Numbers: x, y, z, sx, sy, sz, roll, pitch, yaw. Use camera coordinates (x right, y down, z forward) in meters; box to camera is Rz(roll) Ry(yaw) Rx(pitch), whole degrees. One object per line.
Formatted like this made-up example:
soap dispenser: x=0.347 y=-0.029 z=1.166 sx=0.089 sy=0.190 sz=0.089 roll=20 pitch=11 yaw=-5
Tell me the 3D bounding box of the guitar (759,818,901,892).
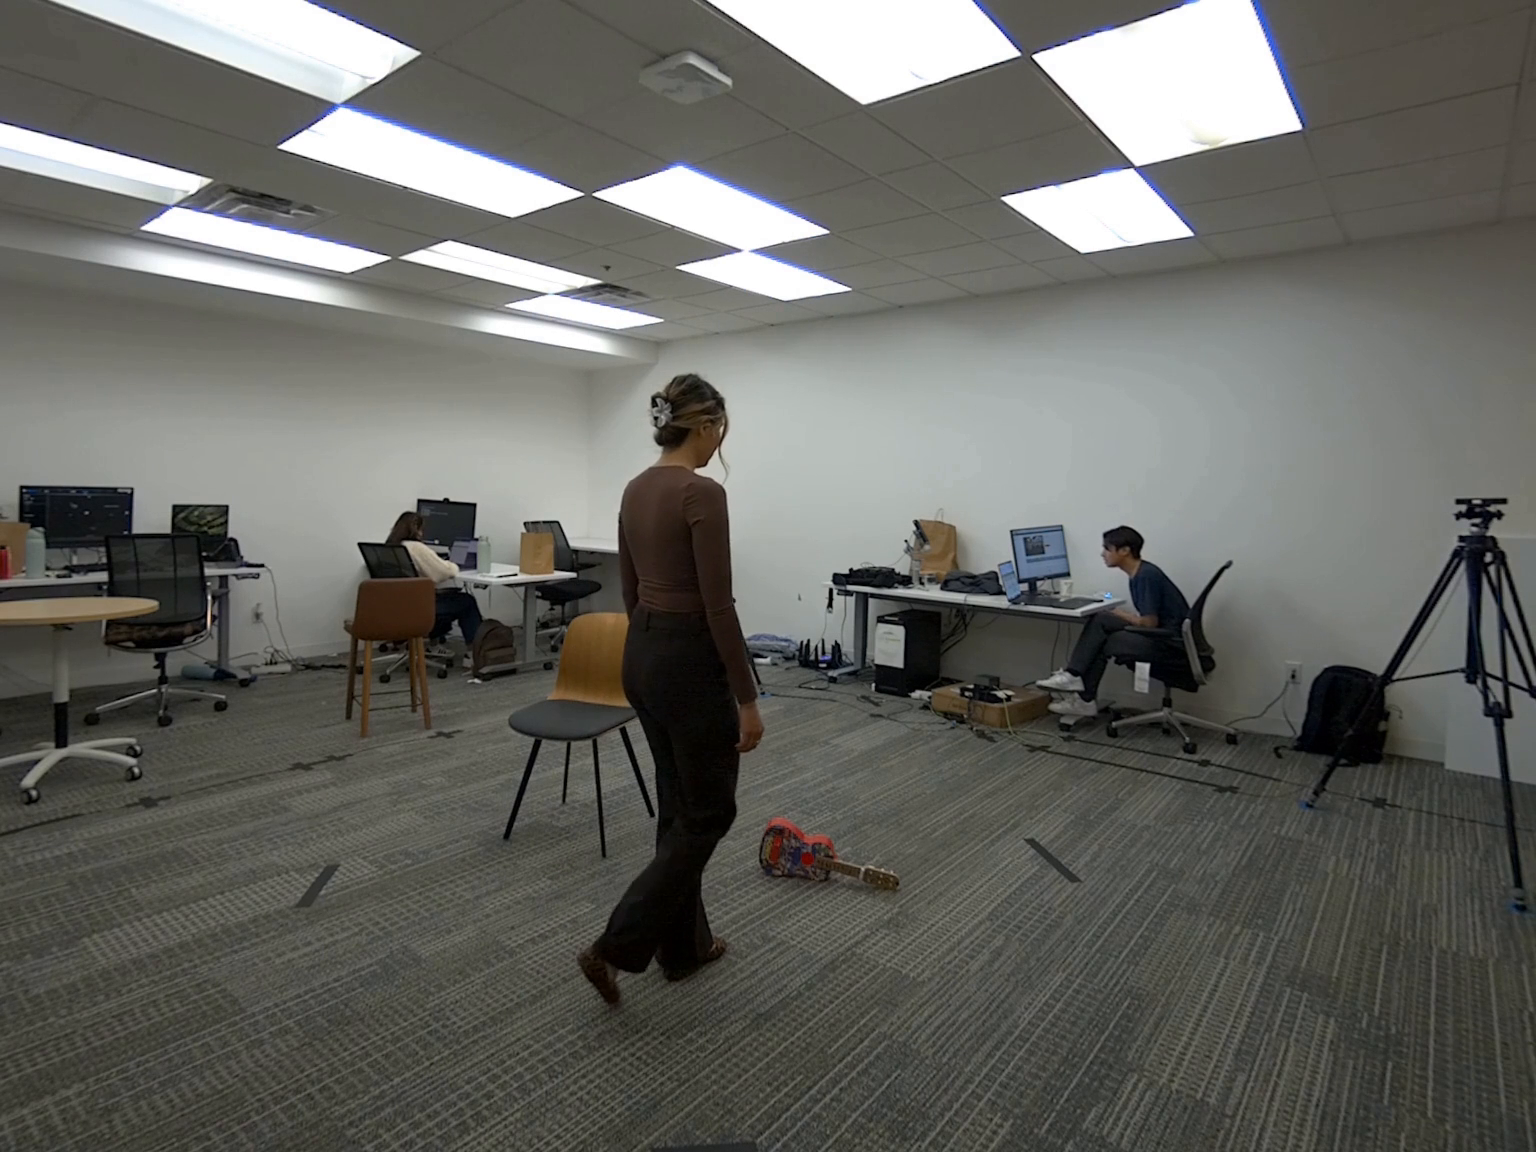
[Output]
guitar: x=0.199 y=1.043 z=3.048 sx=0.504 sy=0.192 sz=0.070 roll=20 pitch=6 yaw=9
